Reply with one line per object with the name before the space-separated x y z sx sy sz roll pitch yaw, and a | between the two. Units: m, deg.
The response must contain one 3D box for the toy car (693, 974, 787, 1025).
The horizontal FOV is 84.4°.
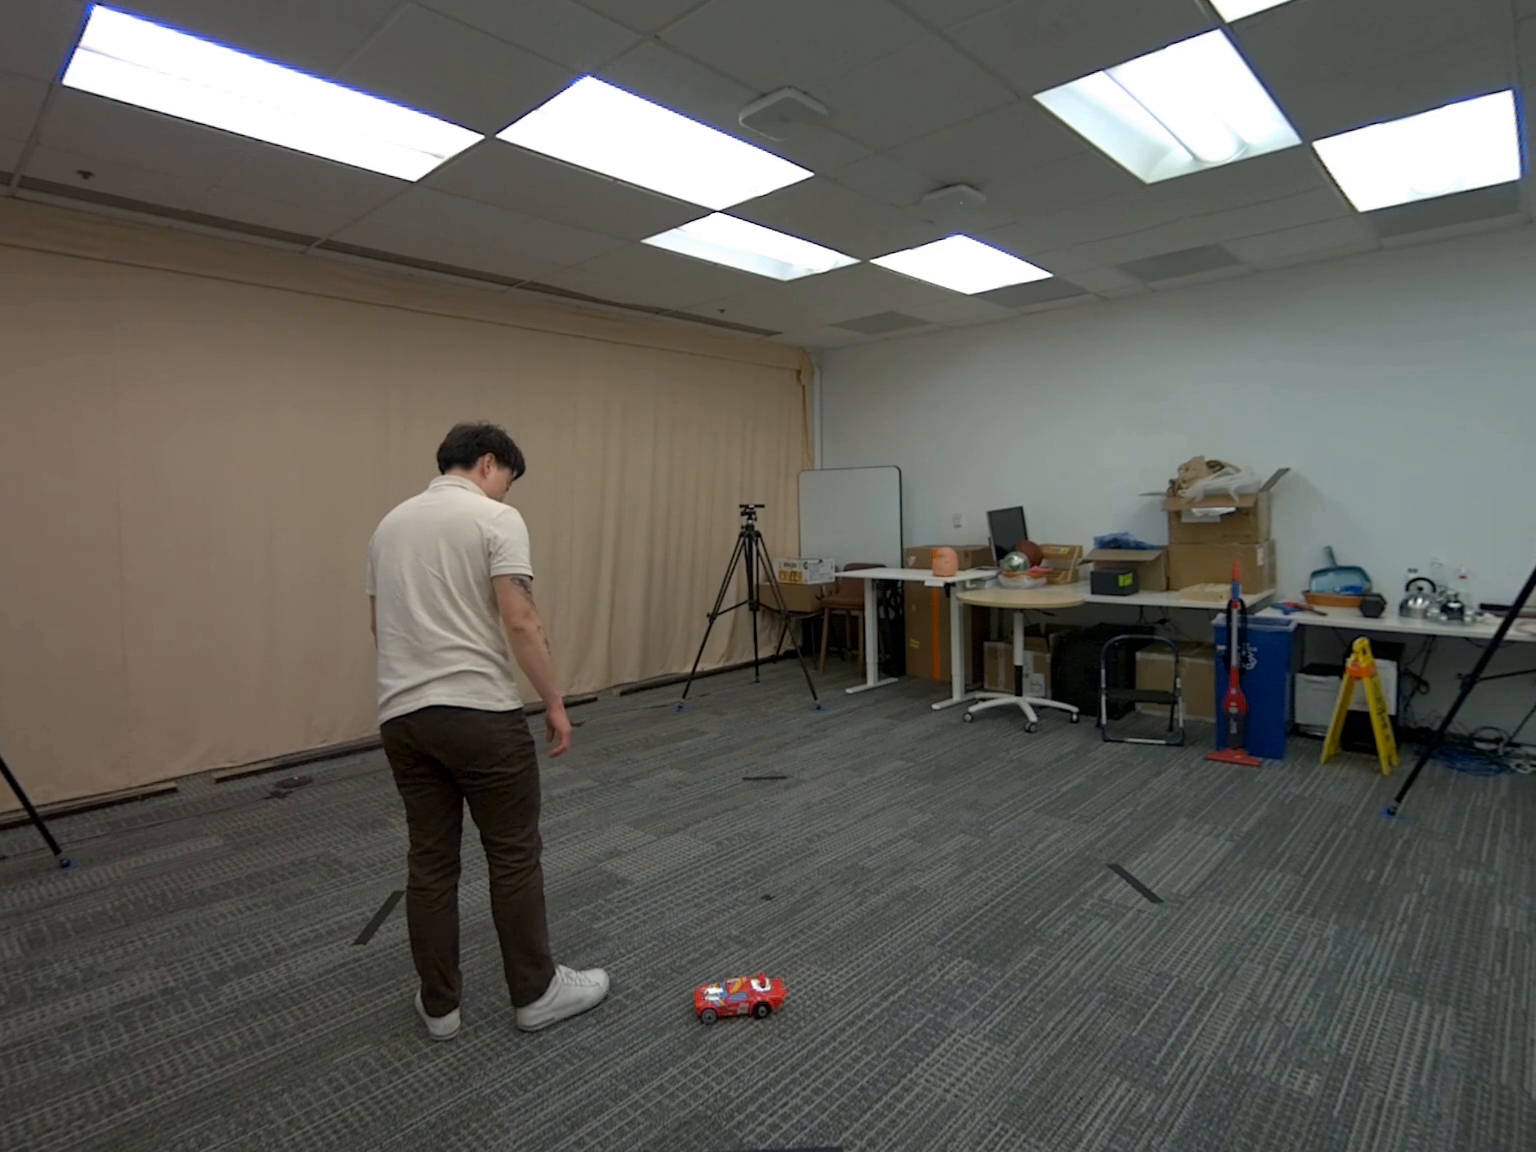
toy car | -0.072 1.167 2.320 0.253 0.083 0.131 -12 6 -6
